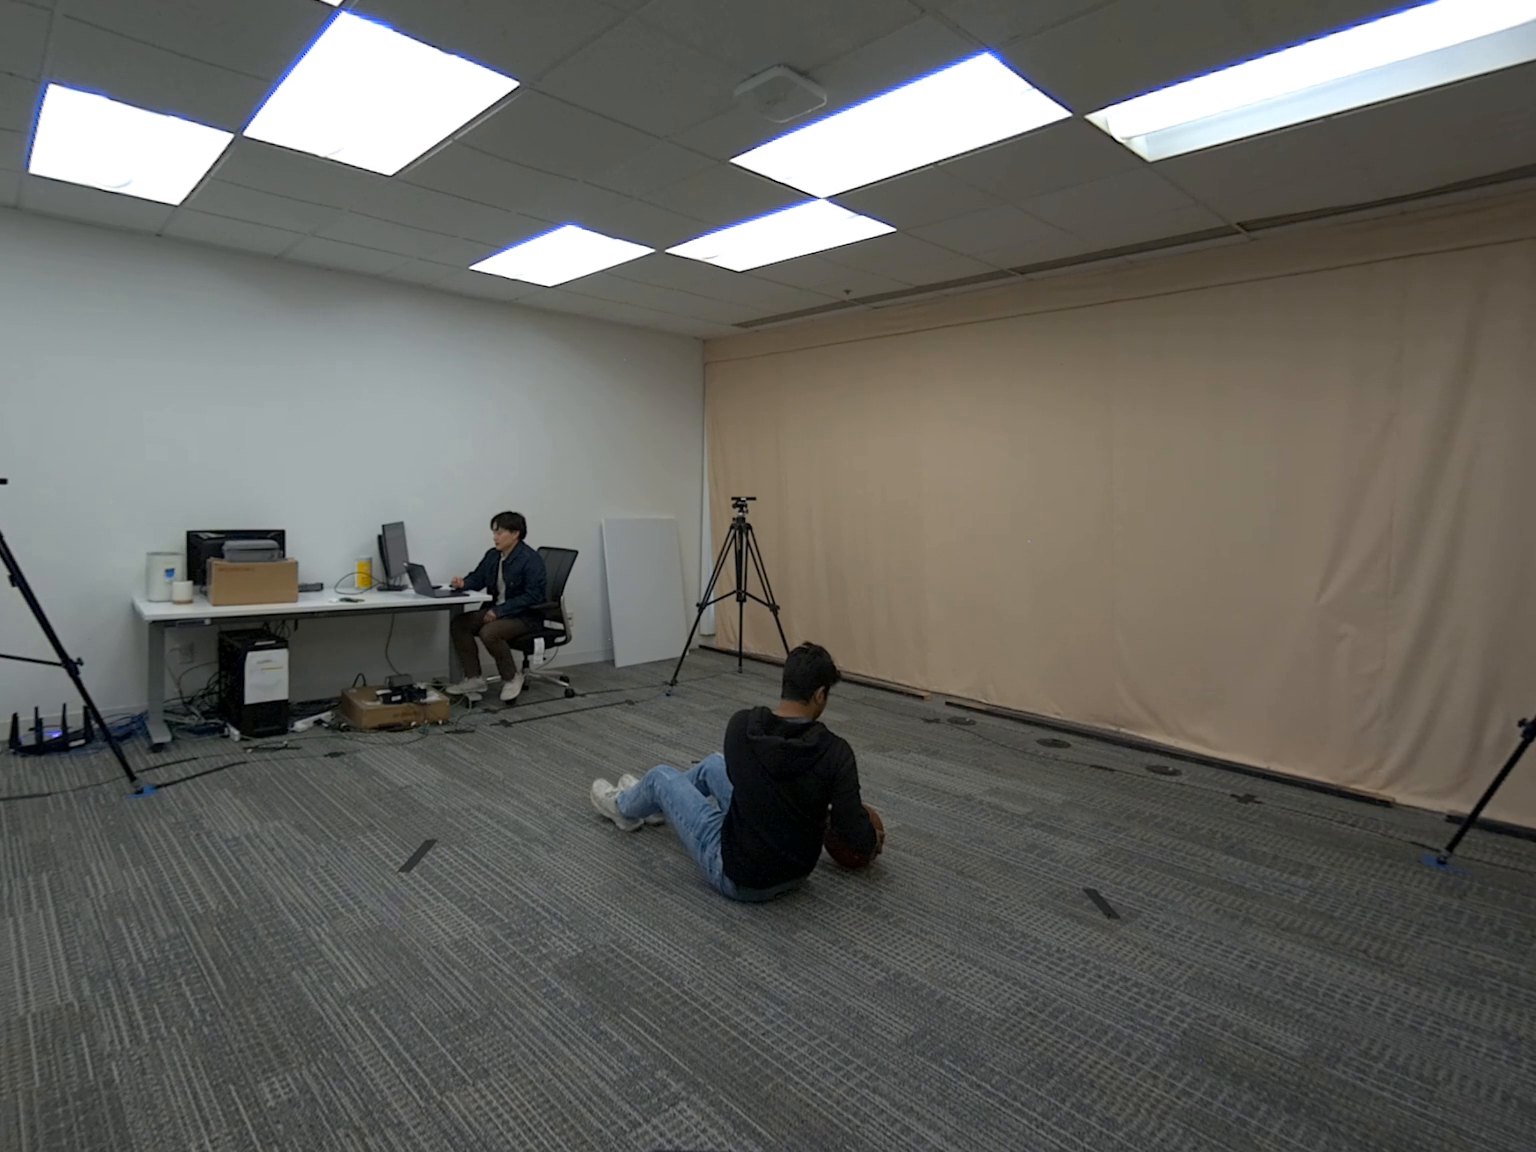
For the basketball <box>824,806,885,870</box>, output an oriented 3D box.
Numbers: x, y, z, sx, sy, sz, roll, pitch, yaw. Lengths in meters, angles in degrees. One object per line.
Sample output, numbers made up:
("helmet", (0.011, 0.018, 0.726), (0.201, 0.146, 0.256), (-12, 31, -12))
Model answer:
("basketball", (0.320, 0.985, 3.231), (0.236, 0.235, 0.237), (1, 4, -1))
